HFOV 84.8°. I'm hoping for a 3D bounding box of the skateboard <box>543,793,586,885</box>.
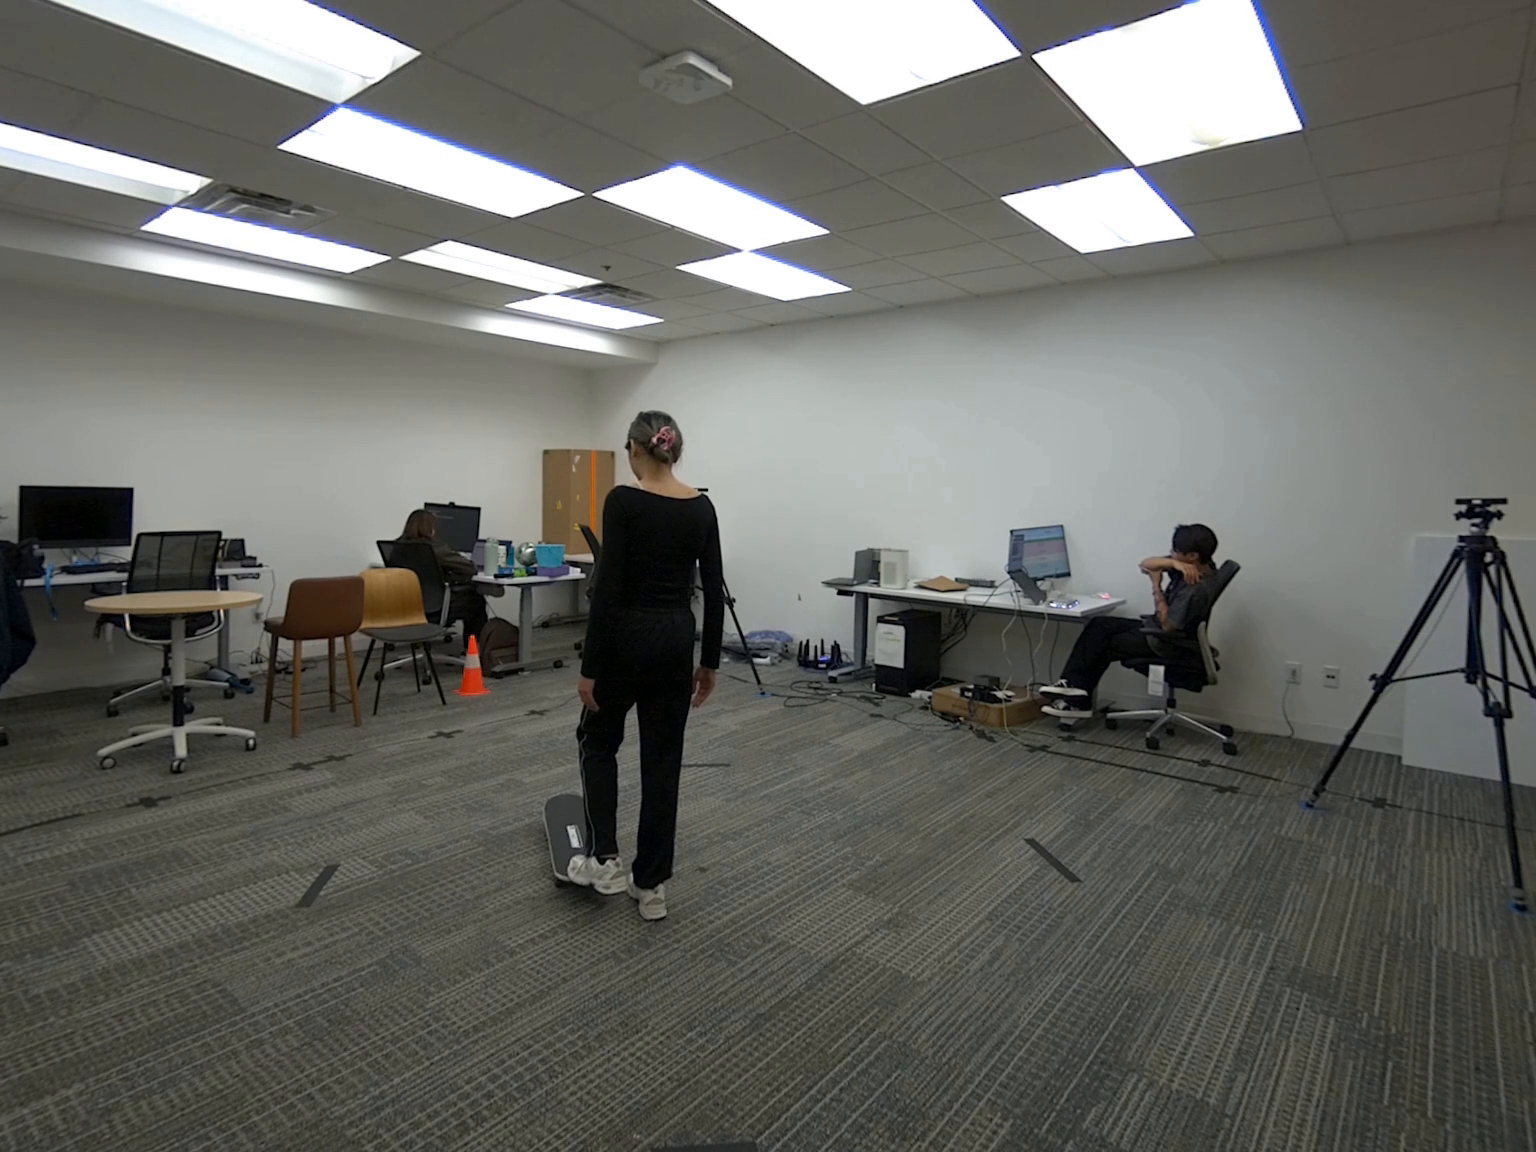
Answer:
[{"bbox_3d":[-0.736,1.000,3.169,0.190,0.110,0.802,1,6,-18],"label":"skateboard"}]
